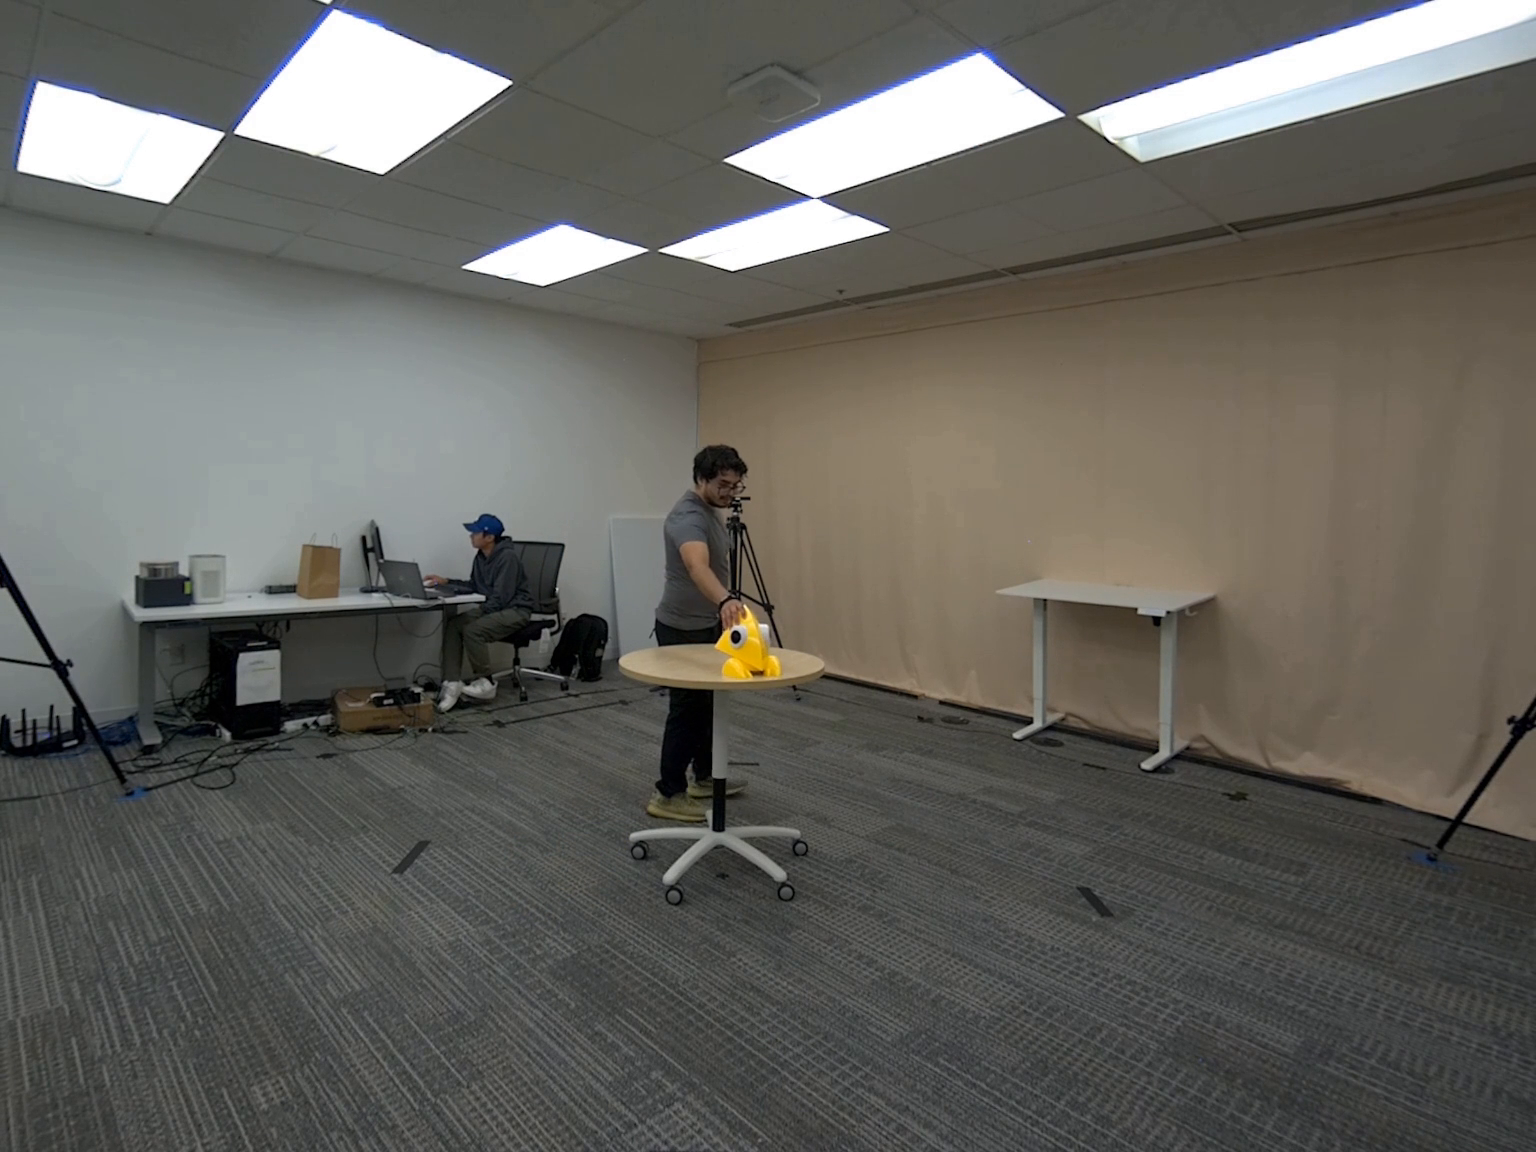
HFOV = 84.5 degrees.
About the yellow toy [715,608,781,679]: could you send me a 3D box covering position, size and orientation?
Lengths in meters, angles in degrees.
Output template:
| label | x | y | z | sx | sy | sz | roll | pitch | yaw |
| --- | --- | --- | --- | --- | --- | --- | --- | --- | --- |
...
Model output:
| label | x | y | z | sx | sy | sz | roll | pitch | yaw |
| --- | --- | --- | --- | --- | --- | --- | --- | --- | --- |
| yellow toy | -0.068 | 0.225 | 2.929 | 0.201 | 0.230 | 0.197 | -1 | 3 | -25 |
